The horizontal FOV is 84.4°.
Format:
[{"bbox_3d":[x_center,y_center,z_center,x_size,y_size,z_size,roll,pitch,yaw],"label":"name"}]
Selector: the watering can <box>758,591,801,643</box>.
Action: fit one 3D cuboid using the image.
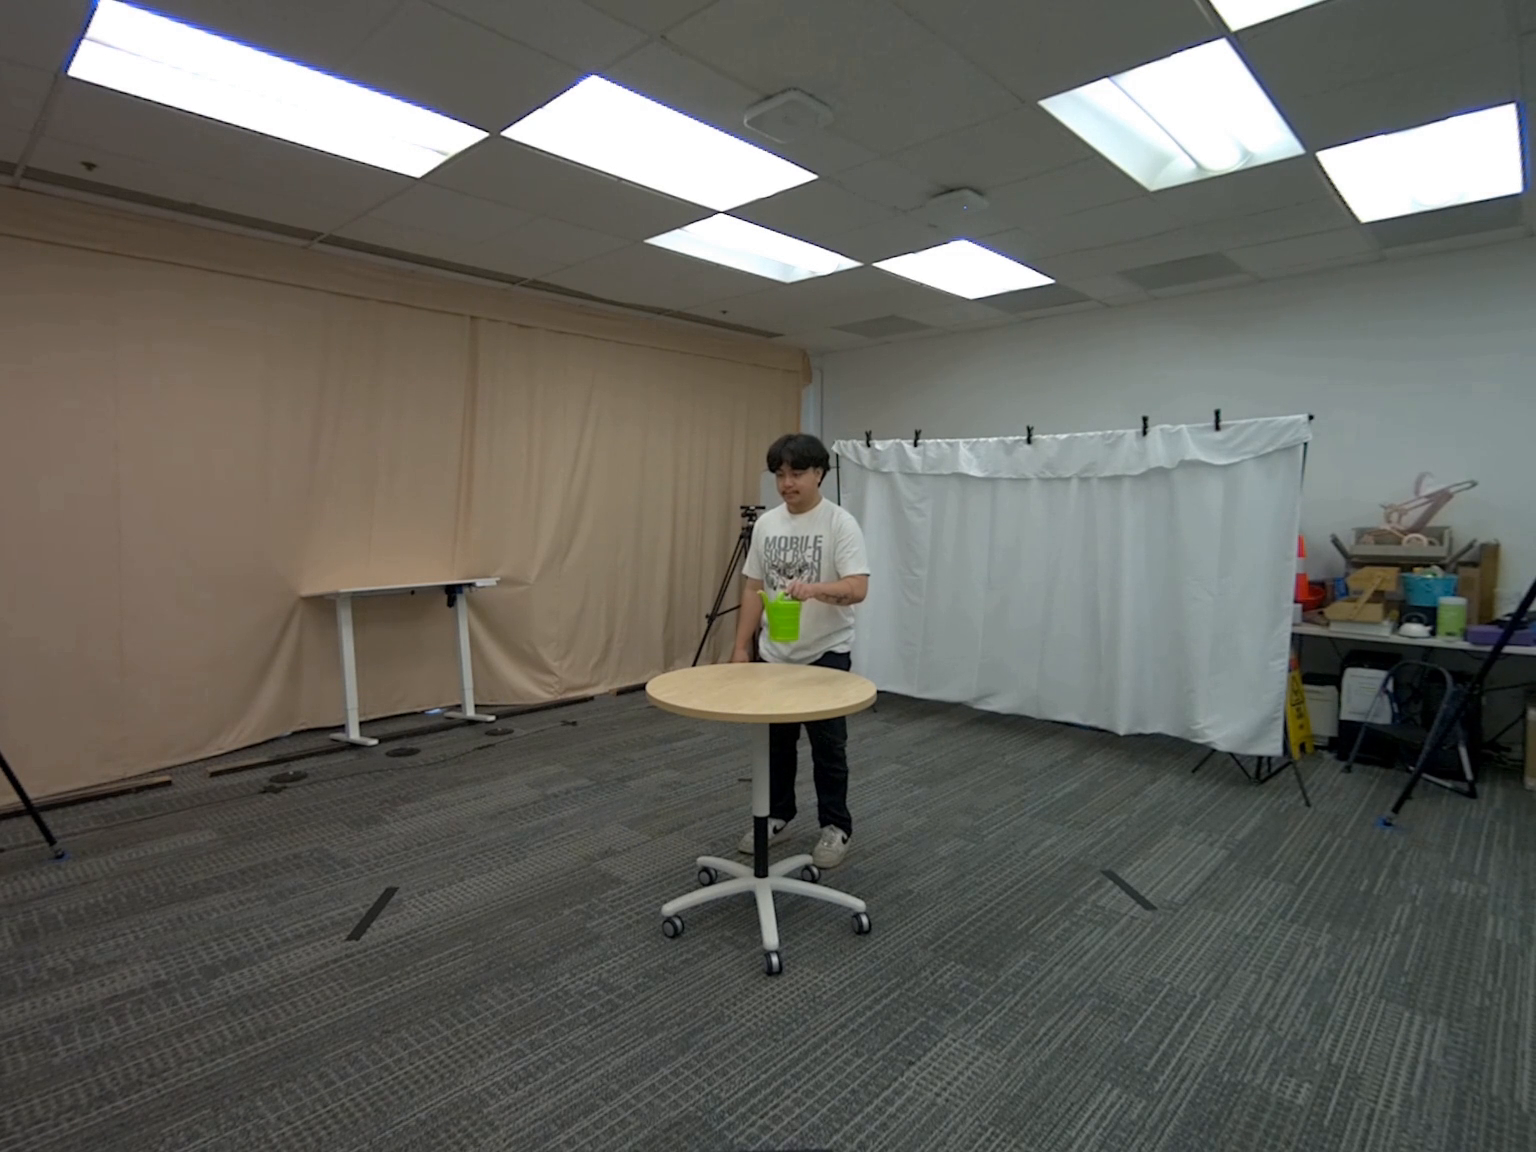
[{"bbox_3d":[0.020,0.134,2.889,0.269,0.177,0.101,3,0,-43],"label":"watering can"}]
